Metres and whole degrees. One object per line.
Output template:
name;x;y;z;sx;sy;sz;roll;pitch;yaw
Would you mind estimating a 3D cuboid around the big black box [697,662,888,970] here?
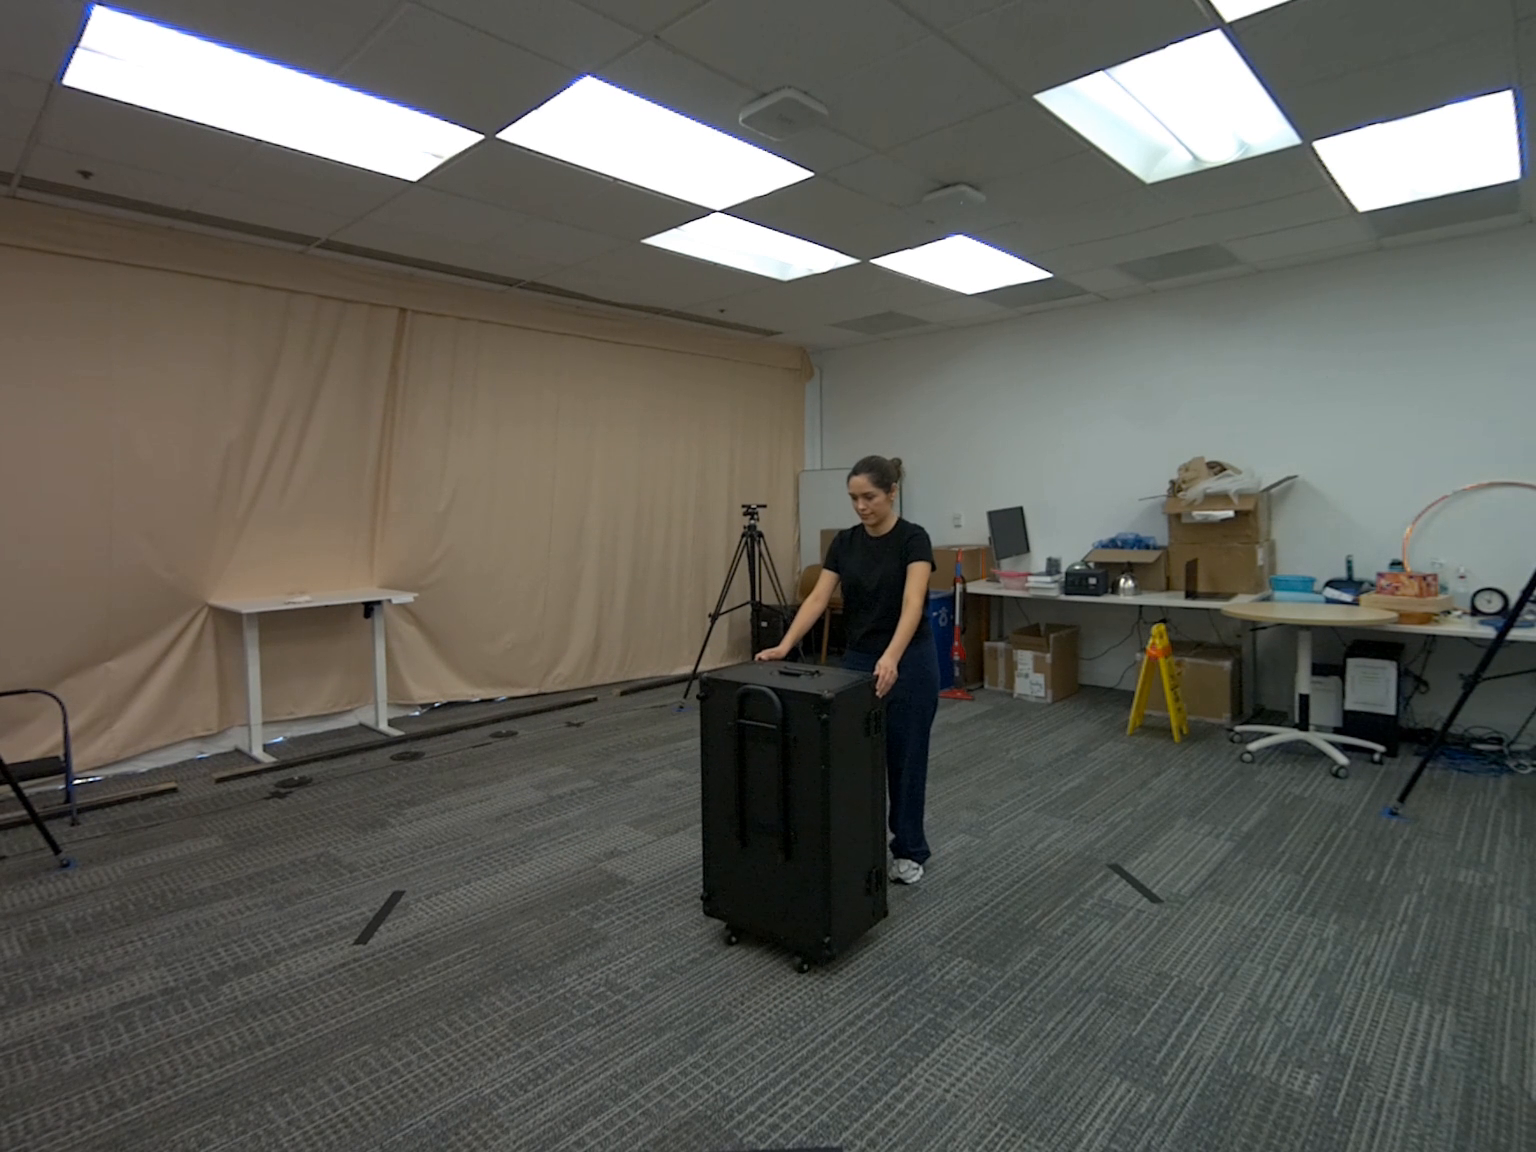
big black box;0.094;0.739;2.678;0.538;0.859;0.385;2;5;37
